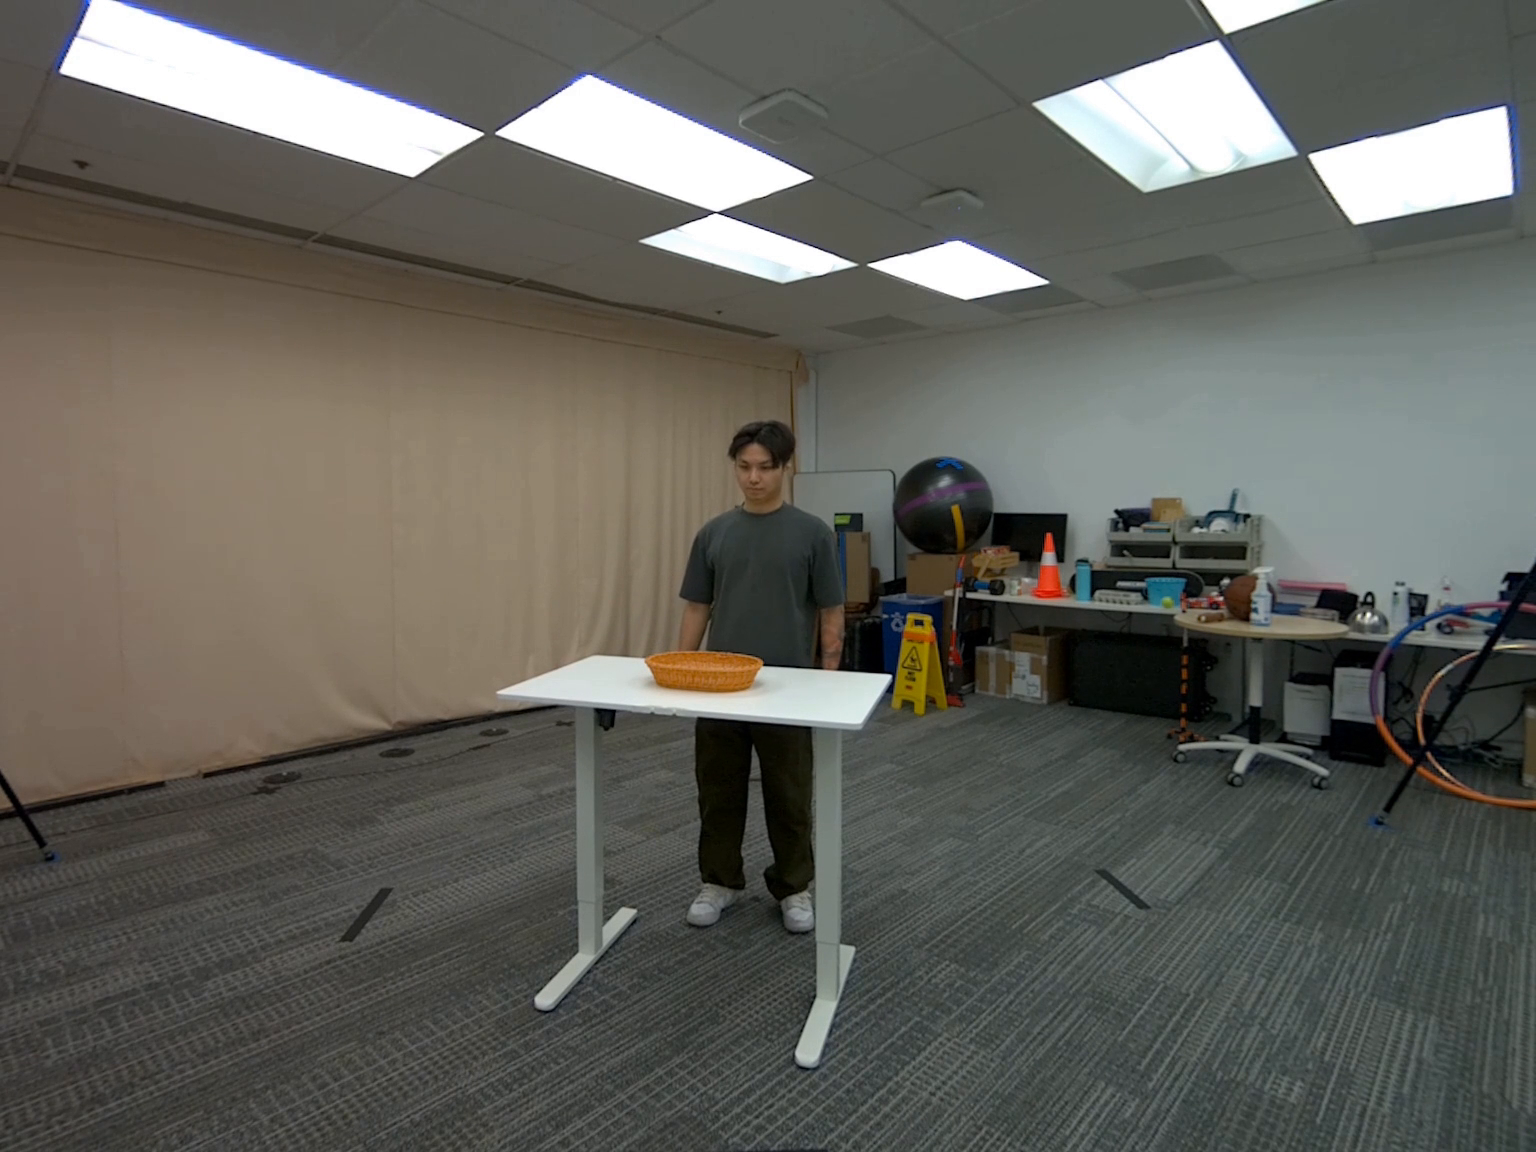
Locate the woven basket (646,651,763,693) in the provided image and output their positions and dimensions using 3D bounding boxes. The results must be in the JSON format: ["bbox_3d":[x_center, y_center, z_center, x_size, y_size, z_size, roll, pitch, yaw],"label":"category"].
[{"bbox_3d":[-0.192,0.278,2.420,0.358,0.073,0.247,2,6,22],"label":"woven basket"}]
